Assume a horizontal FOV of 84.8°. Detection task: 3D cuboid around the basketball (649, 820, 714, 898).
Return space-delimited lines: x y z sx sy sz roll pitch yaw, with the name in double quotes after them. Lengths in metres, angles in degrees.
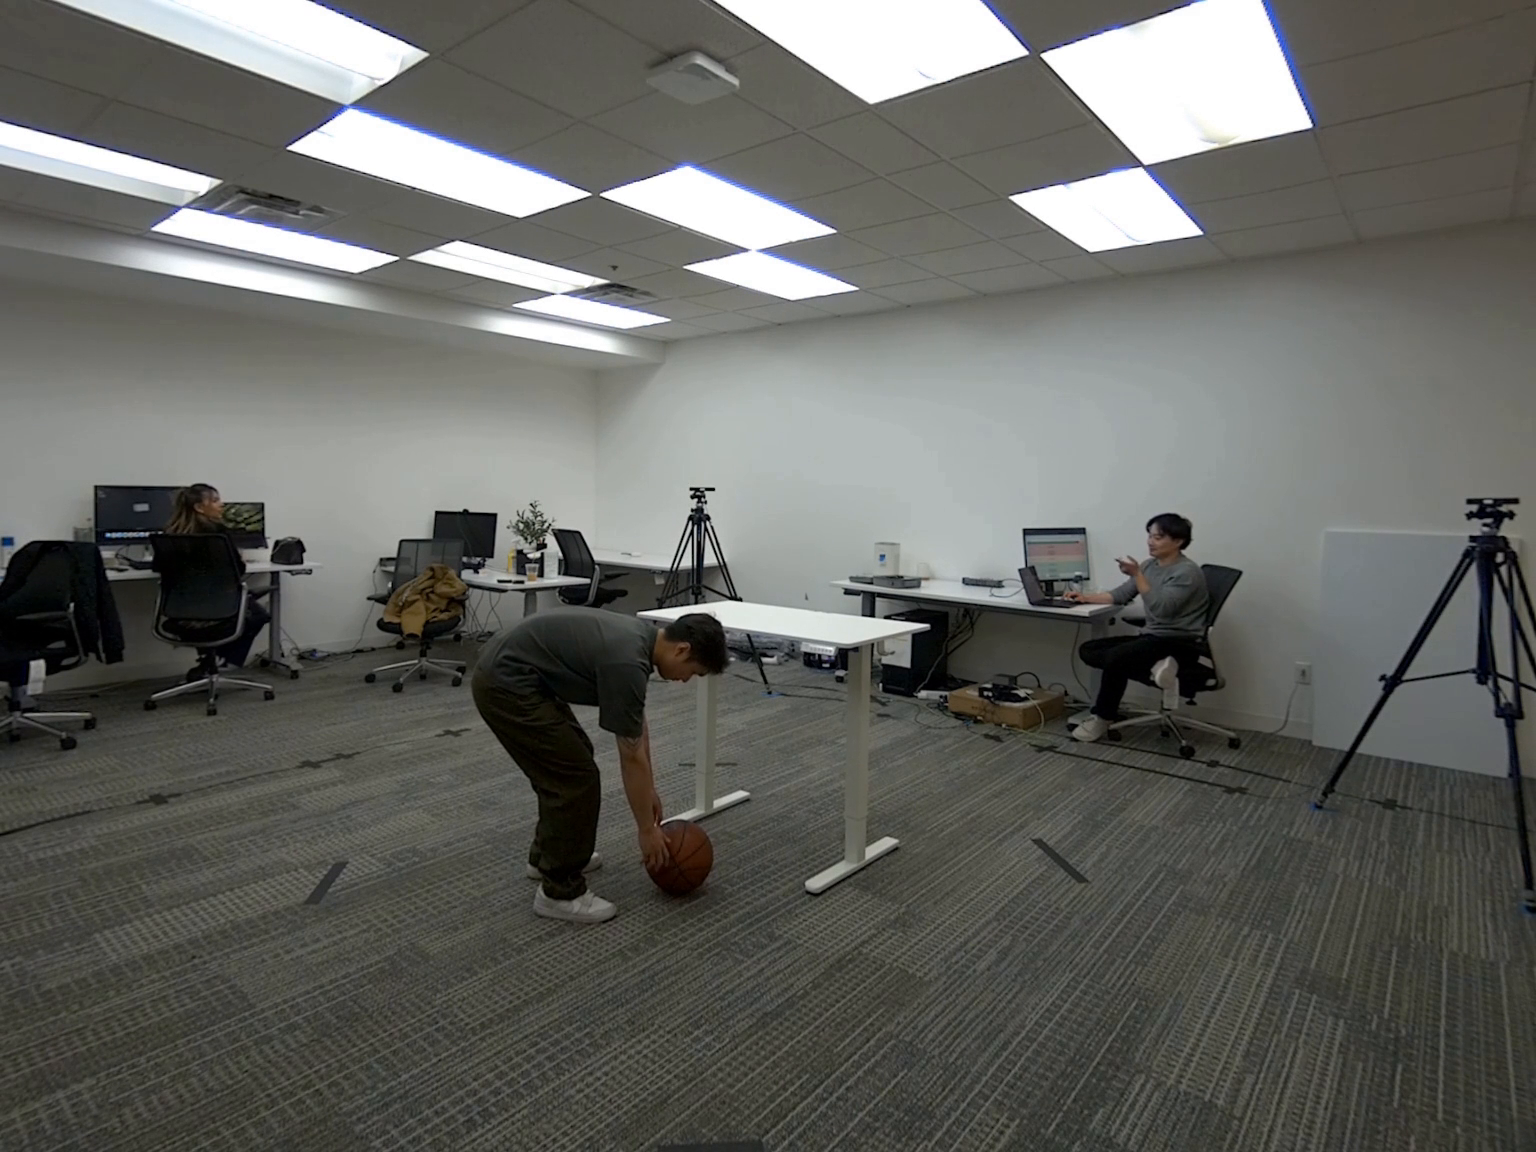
-0.317 0.962 2.929 0.235 0.235 0.237 1 4 -2 "basketball"
